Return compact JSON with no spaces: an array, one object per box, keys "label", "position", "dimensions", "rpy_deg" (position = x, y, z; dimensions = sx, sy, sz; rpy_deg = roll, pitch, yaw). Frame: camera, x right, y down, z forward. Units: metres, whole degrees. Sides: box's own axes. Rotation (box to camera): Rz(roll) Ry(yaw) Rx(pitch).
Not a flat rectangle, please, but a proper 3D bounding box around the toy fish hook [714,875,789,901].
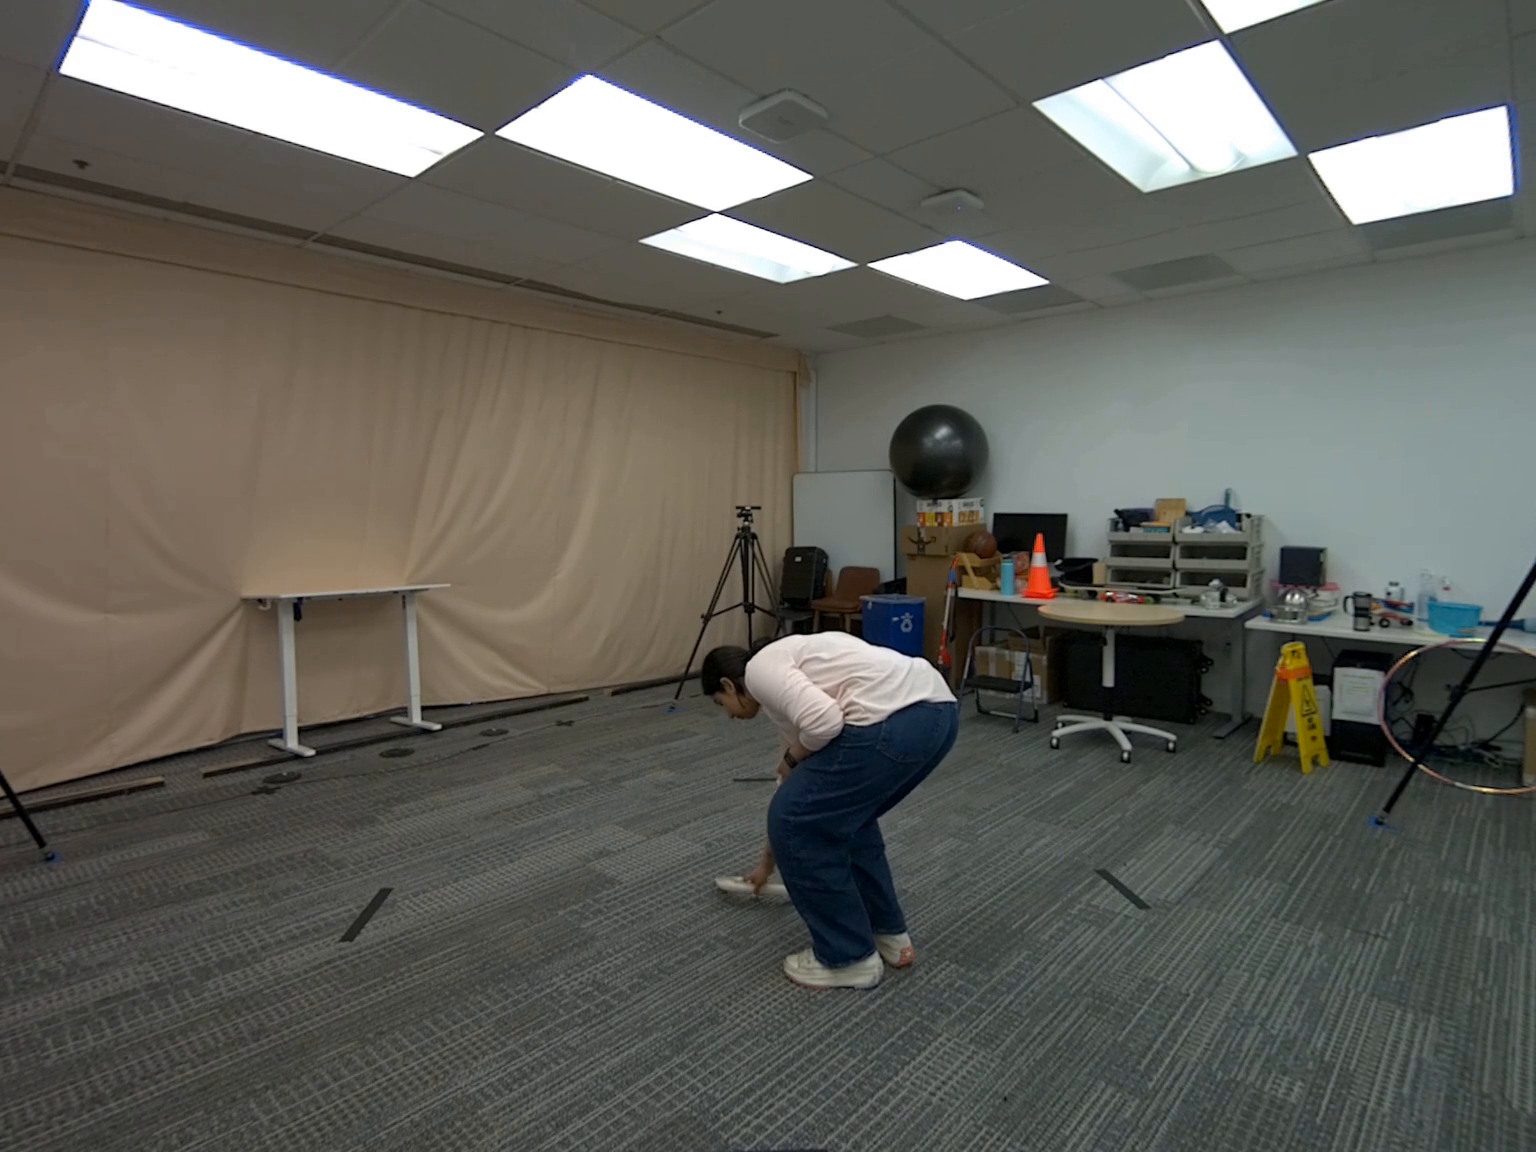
[{"label":"toy fish hook","position":[0.065,1.118,3.018],"dimensions":[0.506,0.048,0.224],"rpy_deg":[7,-8,0]}]
